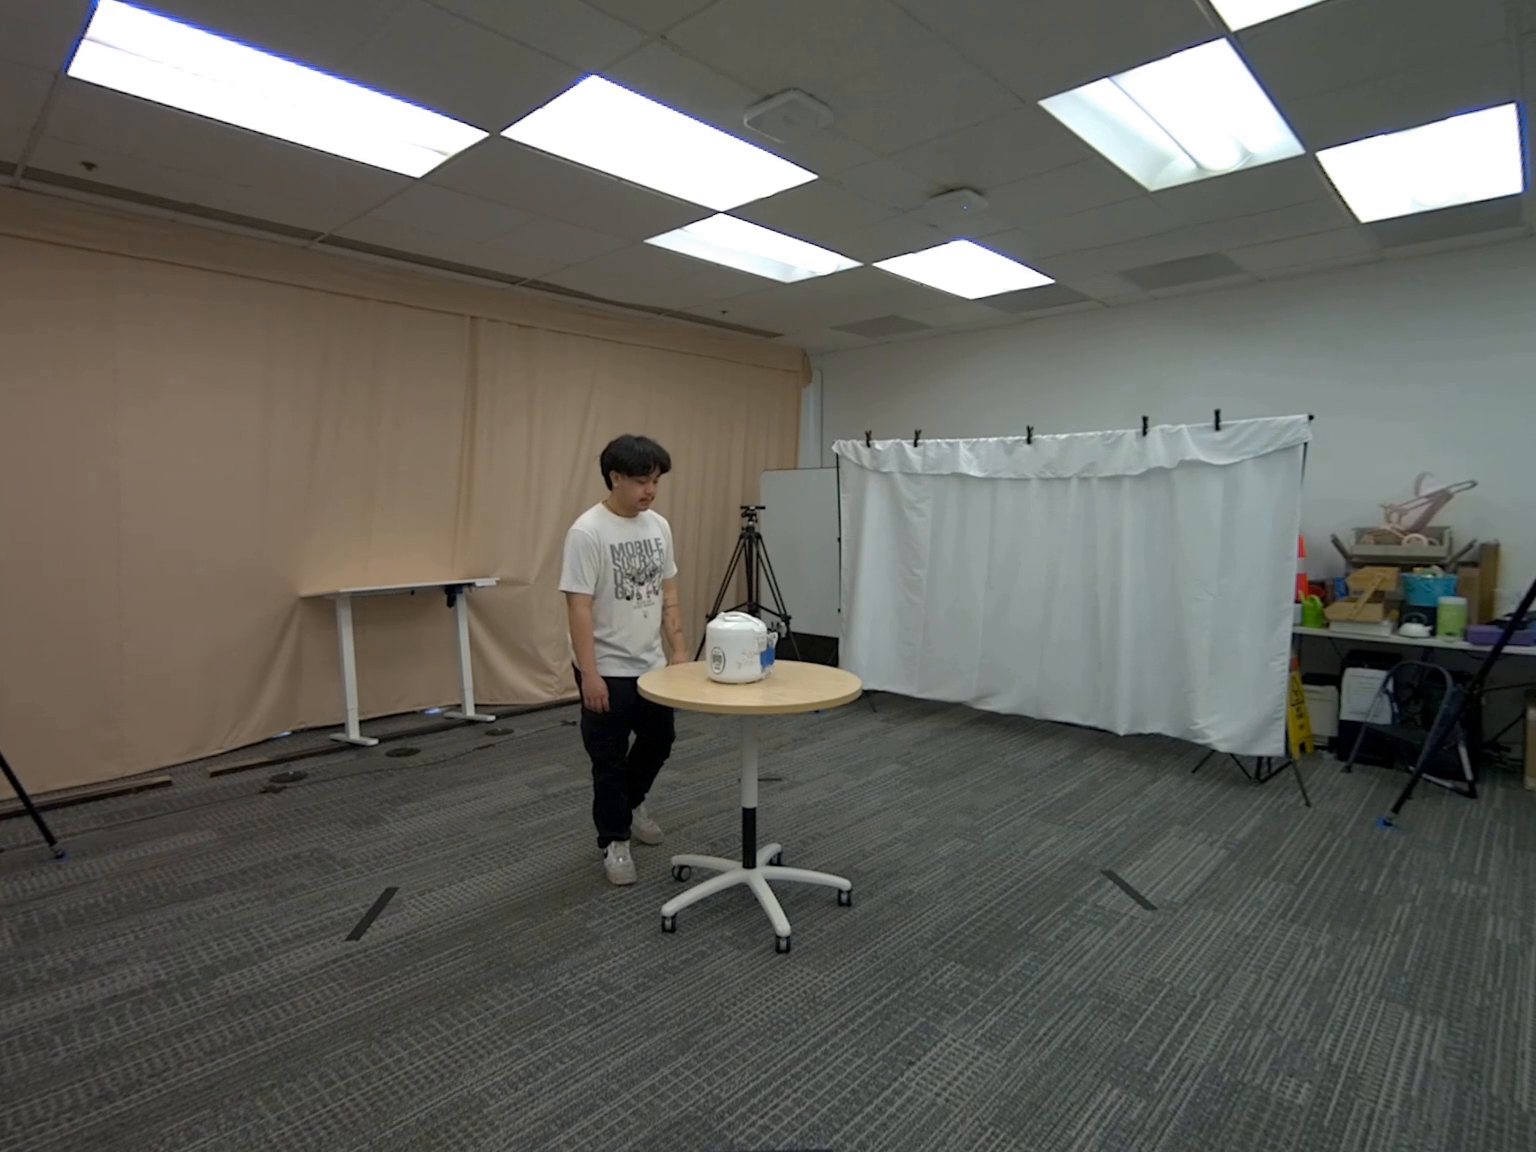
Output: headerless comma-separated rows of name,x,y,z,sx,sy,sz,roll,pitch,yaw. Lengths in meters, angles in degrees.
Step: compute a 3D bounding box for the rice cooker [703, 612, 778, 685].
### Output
rice cooker,-0.105,0.237,2.885,0.227,0.232,0.211,3,4,35
